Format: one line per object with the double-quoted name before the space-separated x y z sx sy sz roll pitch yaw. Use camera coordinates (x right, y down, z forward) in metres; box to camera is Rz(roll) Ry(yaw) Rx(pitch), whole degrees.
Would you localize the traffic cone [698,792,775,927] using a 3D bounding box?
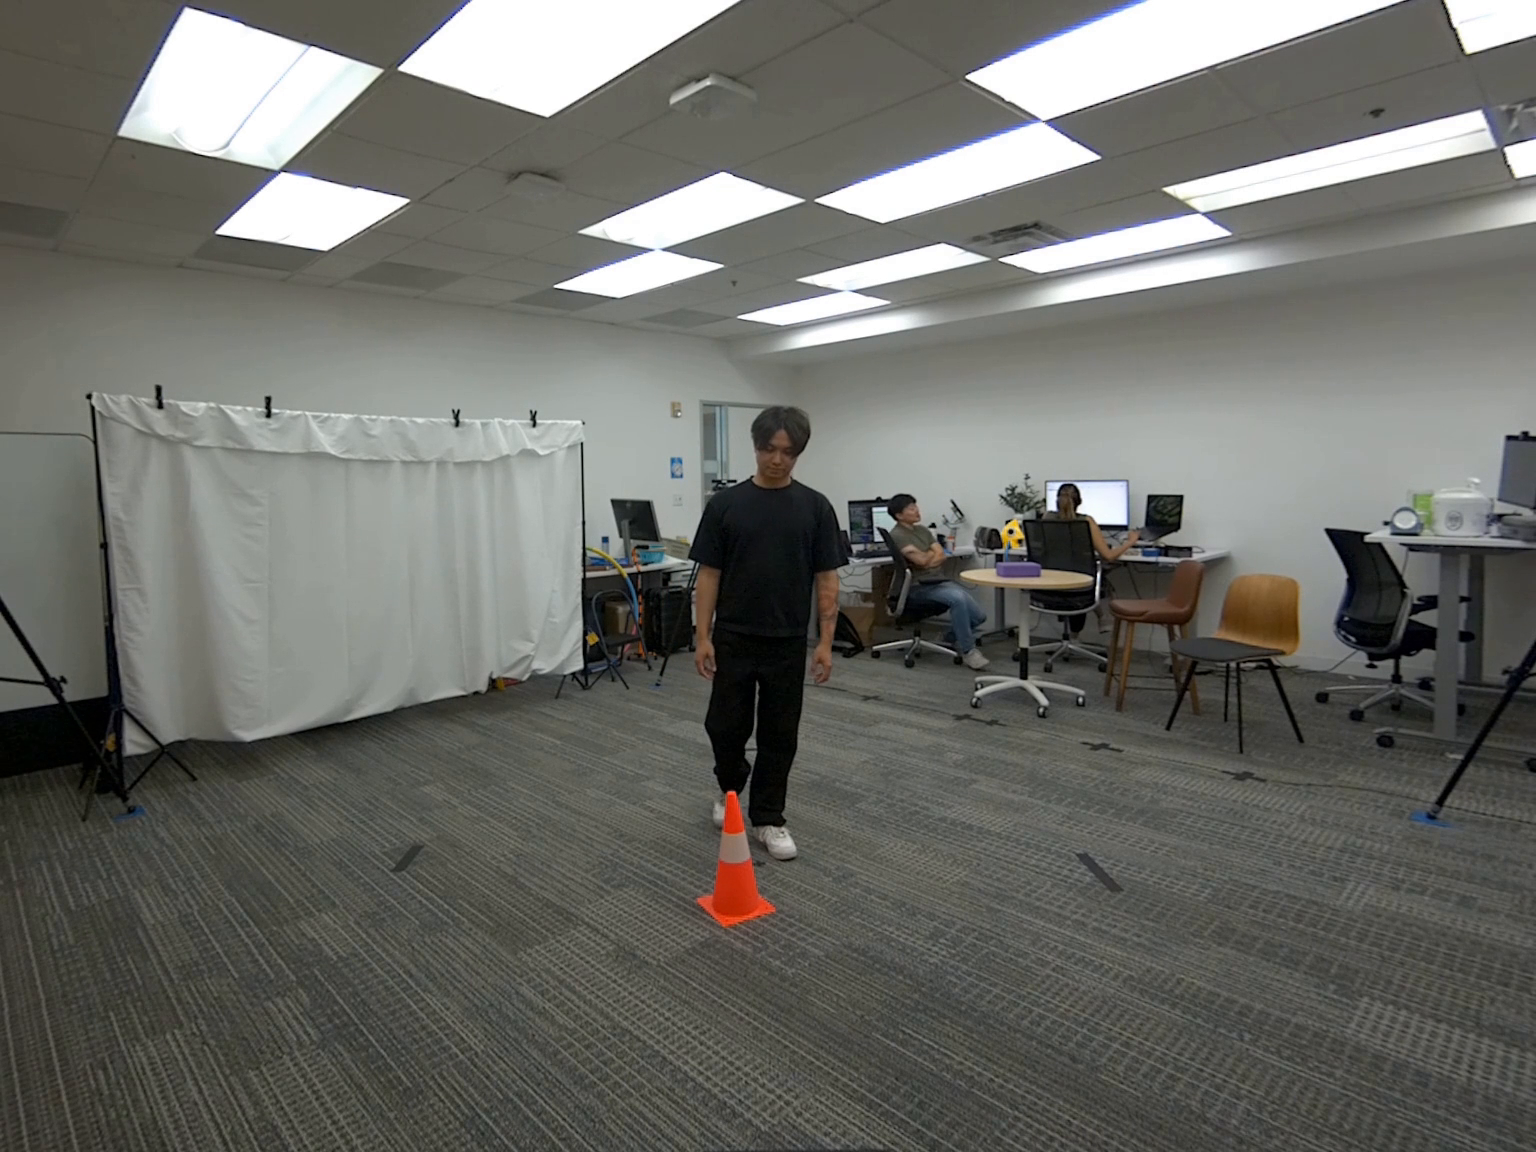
"traffic cone" -0.116 0.906 2.794 0.200 0.382 0.209 -6 6 -34
